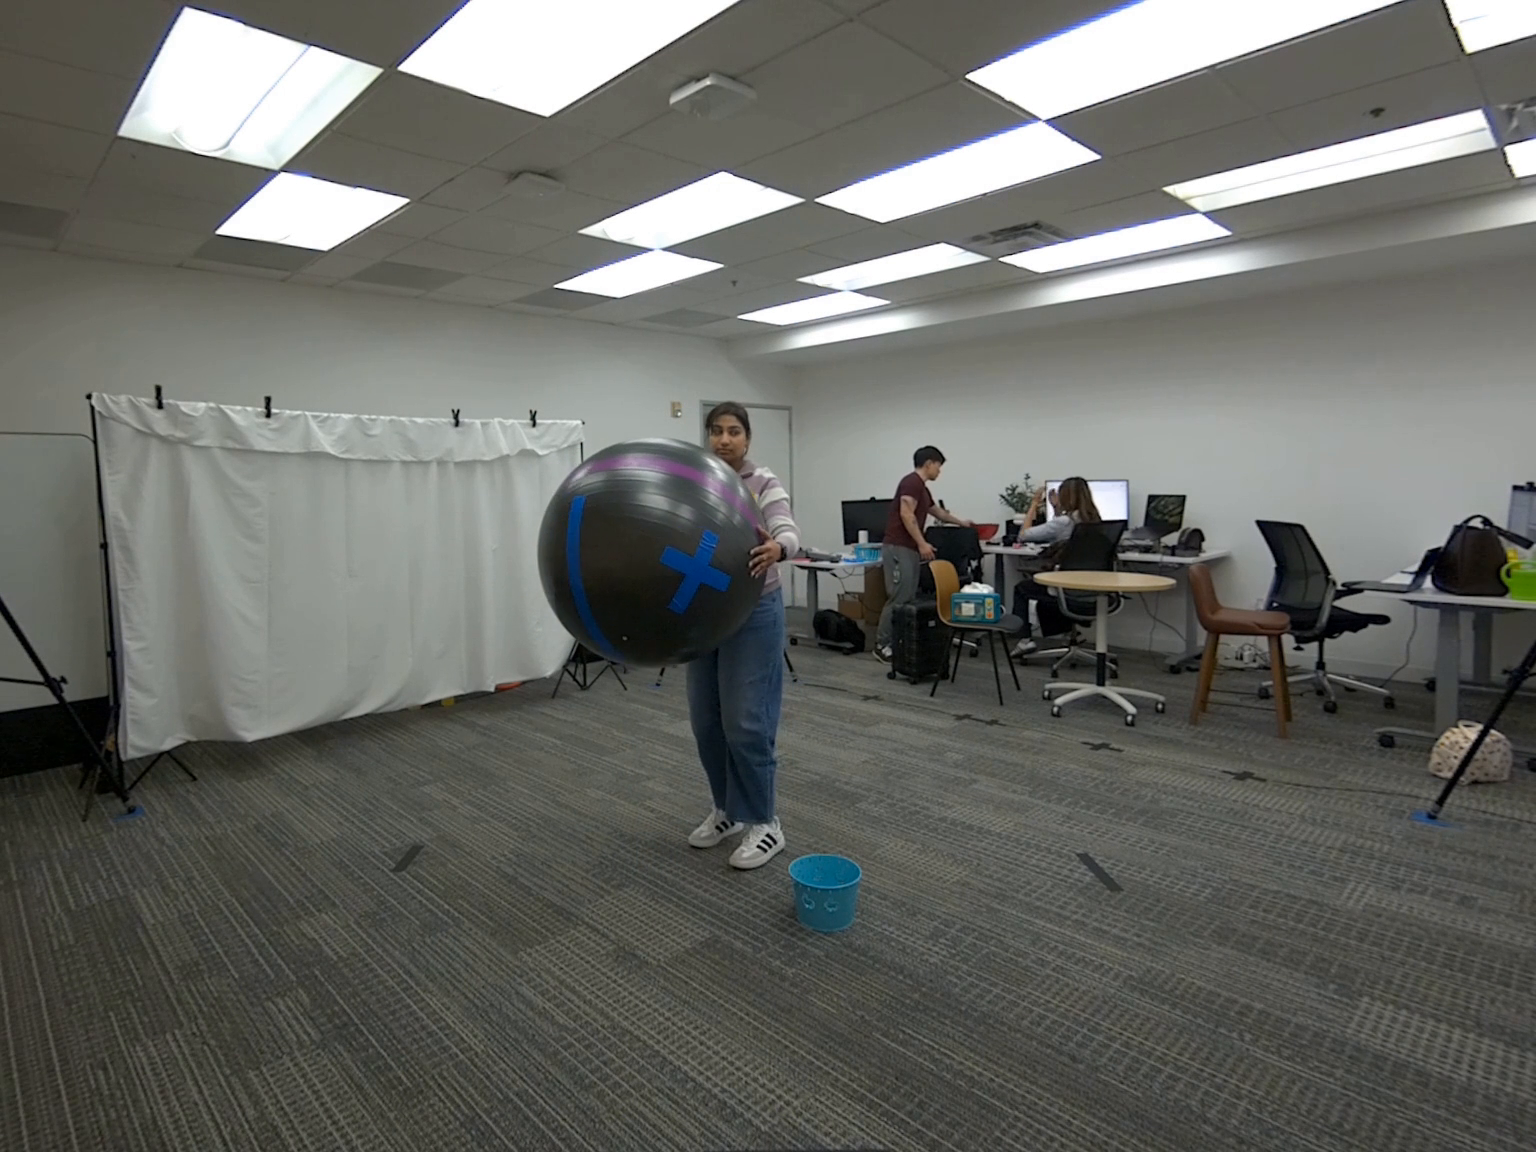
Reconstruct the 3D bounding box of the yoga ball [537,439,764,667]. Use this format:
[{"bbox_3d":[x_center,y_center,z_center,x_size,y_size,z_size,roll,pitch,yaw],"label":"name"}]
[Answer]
[{"bbox_3d":[-0.385,-0.073,2.827,0.757,0.755,0.762,-1,5,-2],"label":"yoga ball"}]
